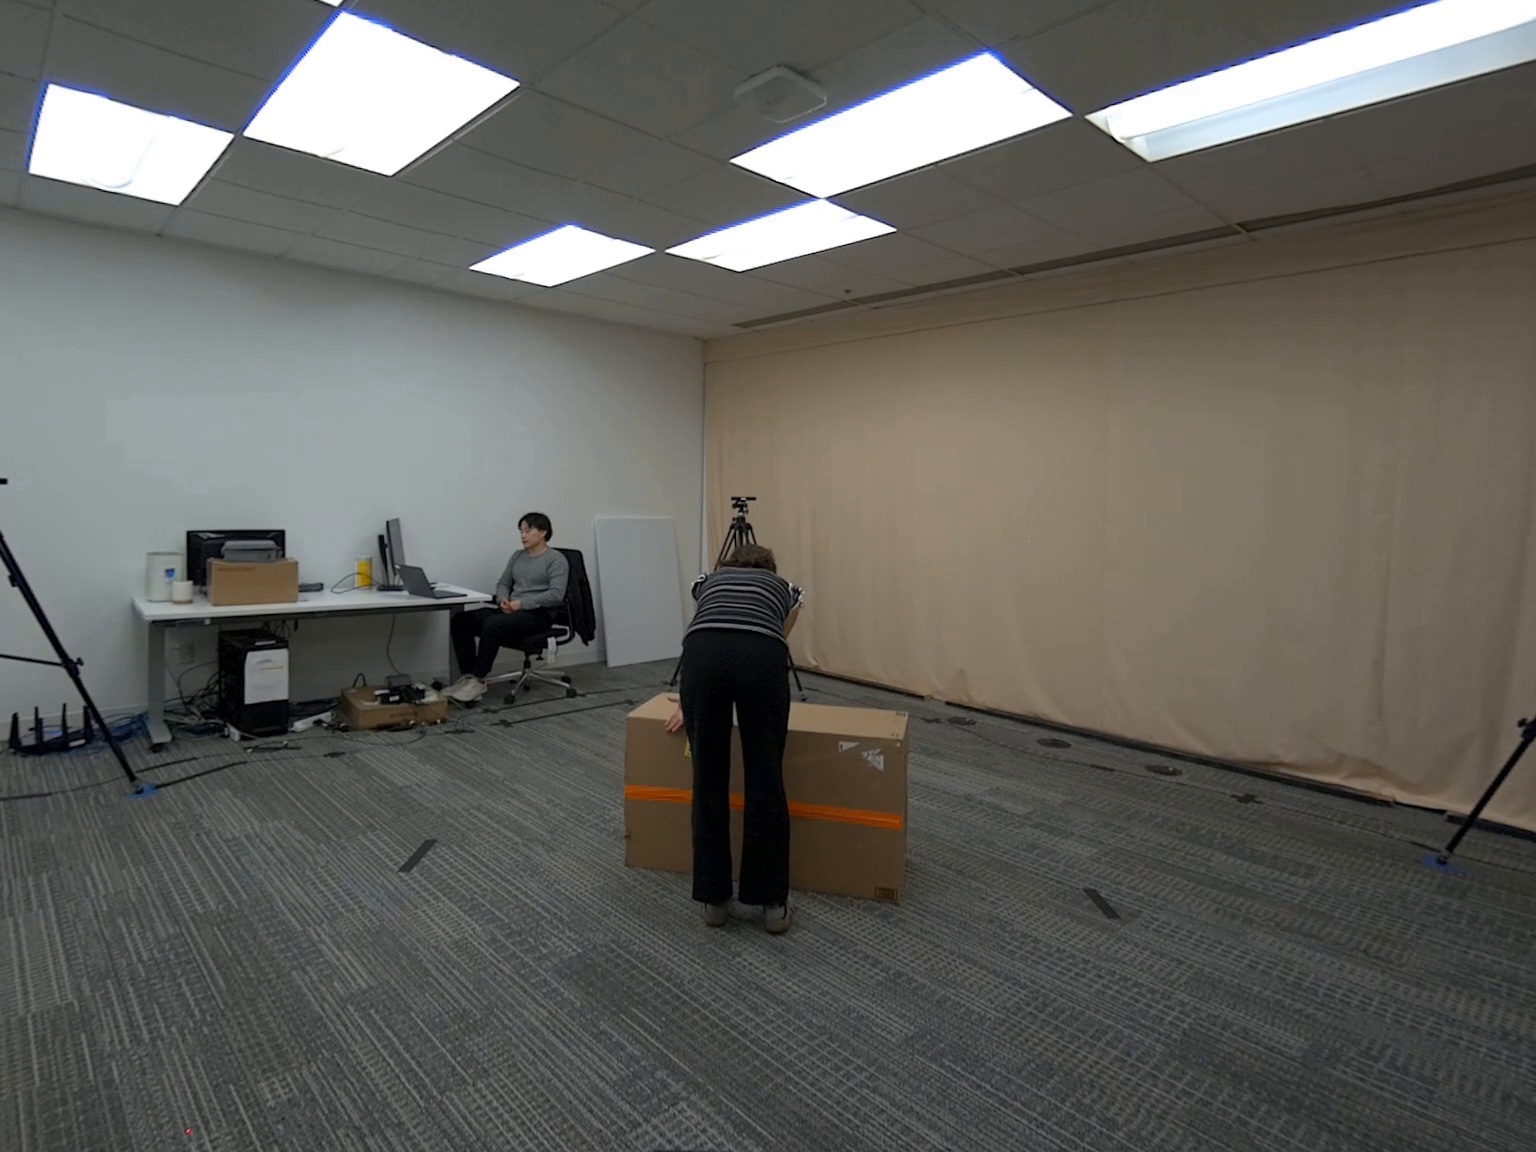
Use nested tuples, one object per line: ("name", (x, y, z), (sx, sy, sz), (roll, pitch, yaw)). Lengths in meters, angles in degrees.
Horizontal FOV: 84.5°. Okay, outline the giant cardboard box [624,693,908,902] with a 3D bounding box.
("giant cardboard box", (0.001, 0.802, 3.236), (1.037, 0.576, 0.423), (2, 4, 13))
